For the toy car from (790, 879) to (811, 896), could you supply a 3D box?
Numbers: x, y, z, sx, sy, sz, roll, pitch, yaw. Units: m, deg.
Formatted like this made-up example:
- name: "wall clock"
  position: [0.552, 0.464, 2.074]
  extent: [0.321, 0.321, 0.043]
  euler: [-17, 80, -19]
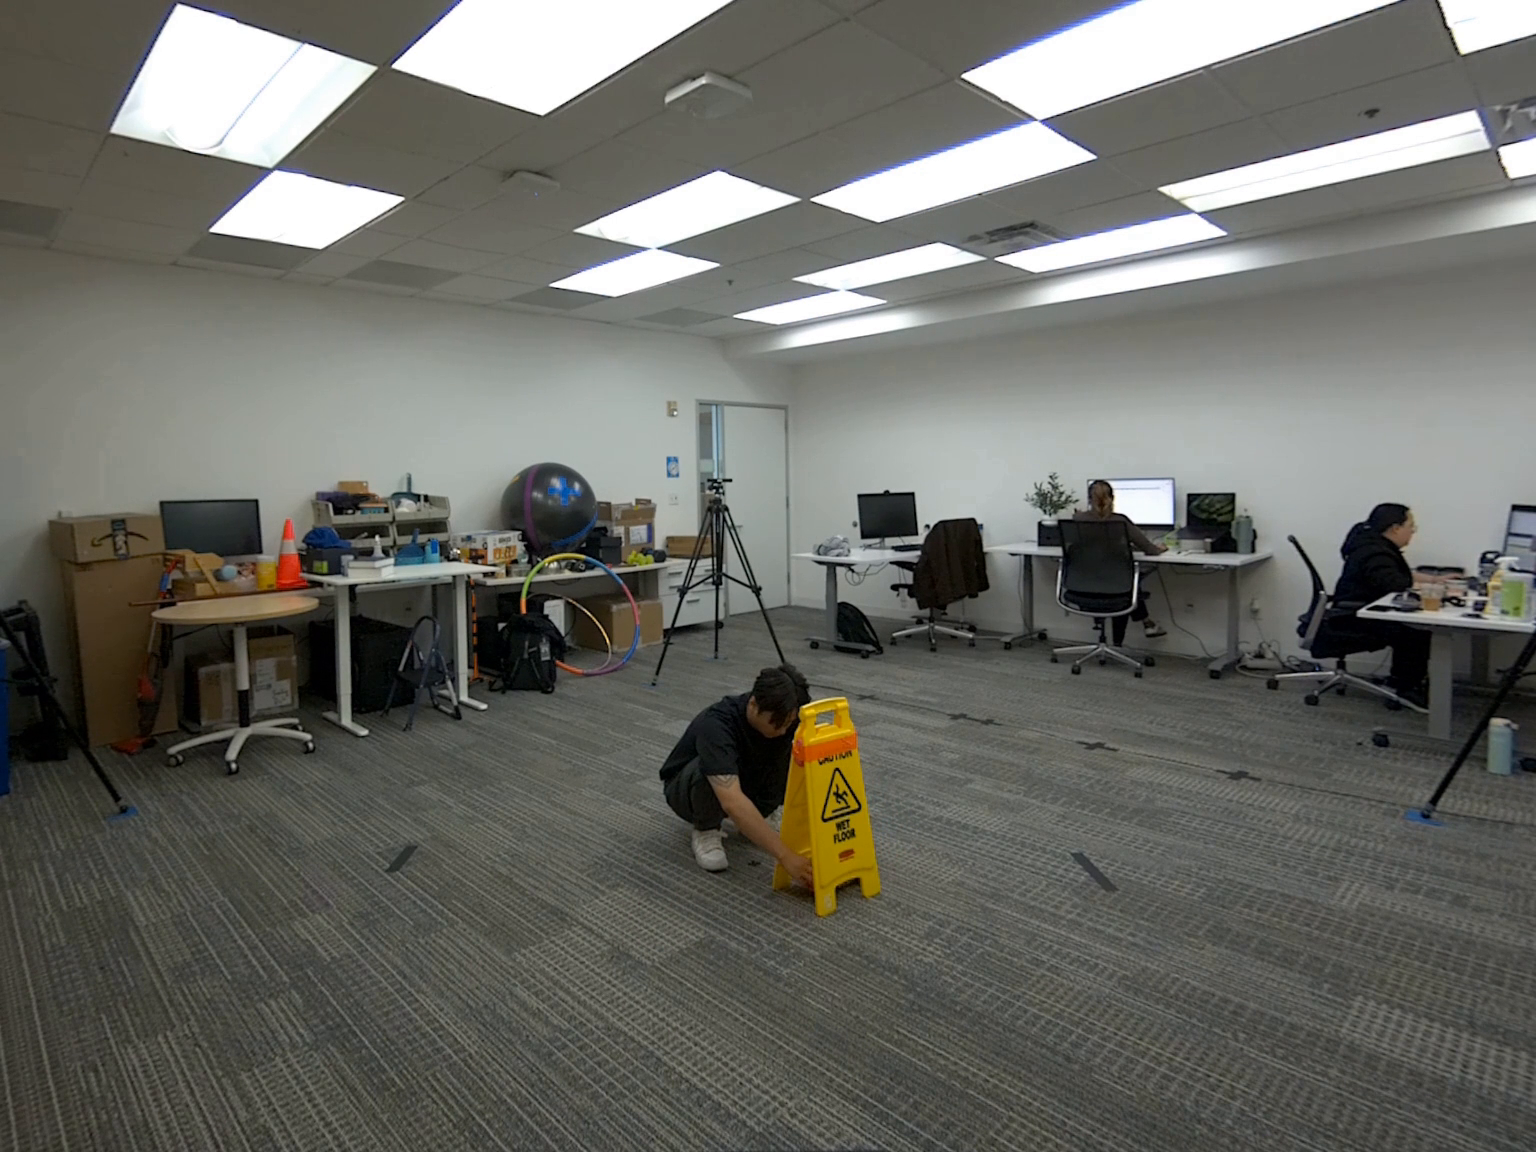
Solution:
- name: "toy car"
  position: [0.214, 1.042, 2.902]
  extent: [0.246, 0.083, 0.134]
  euler: [9, -2, -44]
